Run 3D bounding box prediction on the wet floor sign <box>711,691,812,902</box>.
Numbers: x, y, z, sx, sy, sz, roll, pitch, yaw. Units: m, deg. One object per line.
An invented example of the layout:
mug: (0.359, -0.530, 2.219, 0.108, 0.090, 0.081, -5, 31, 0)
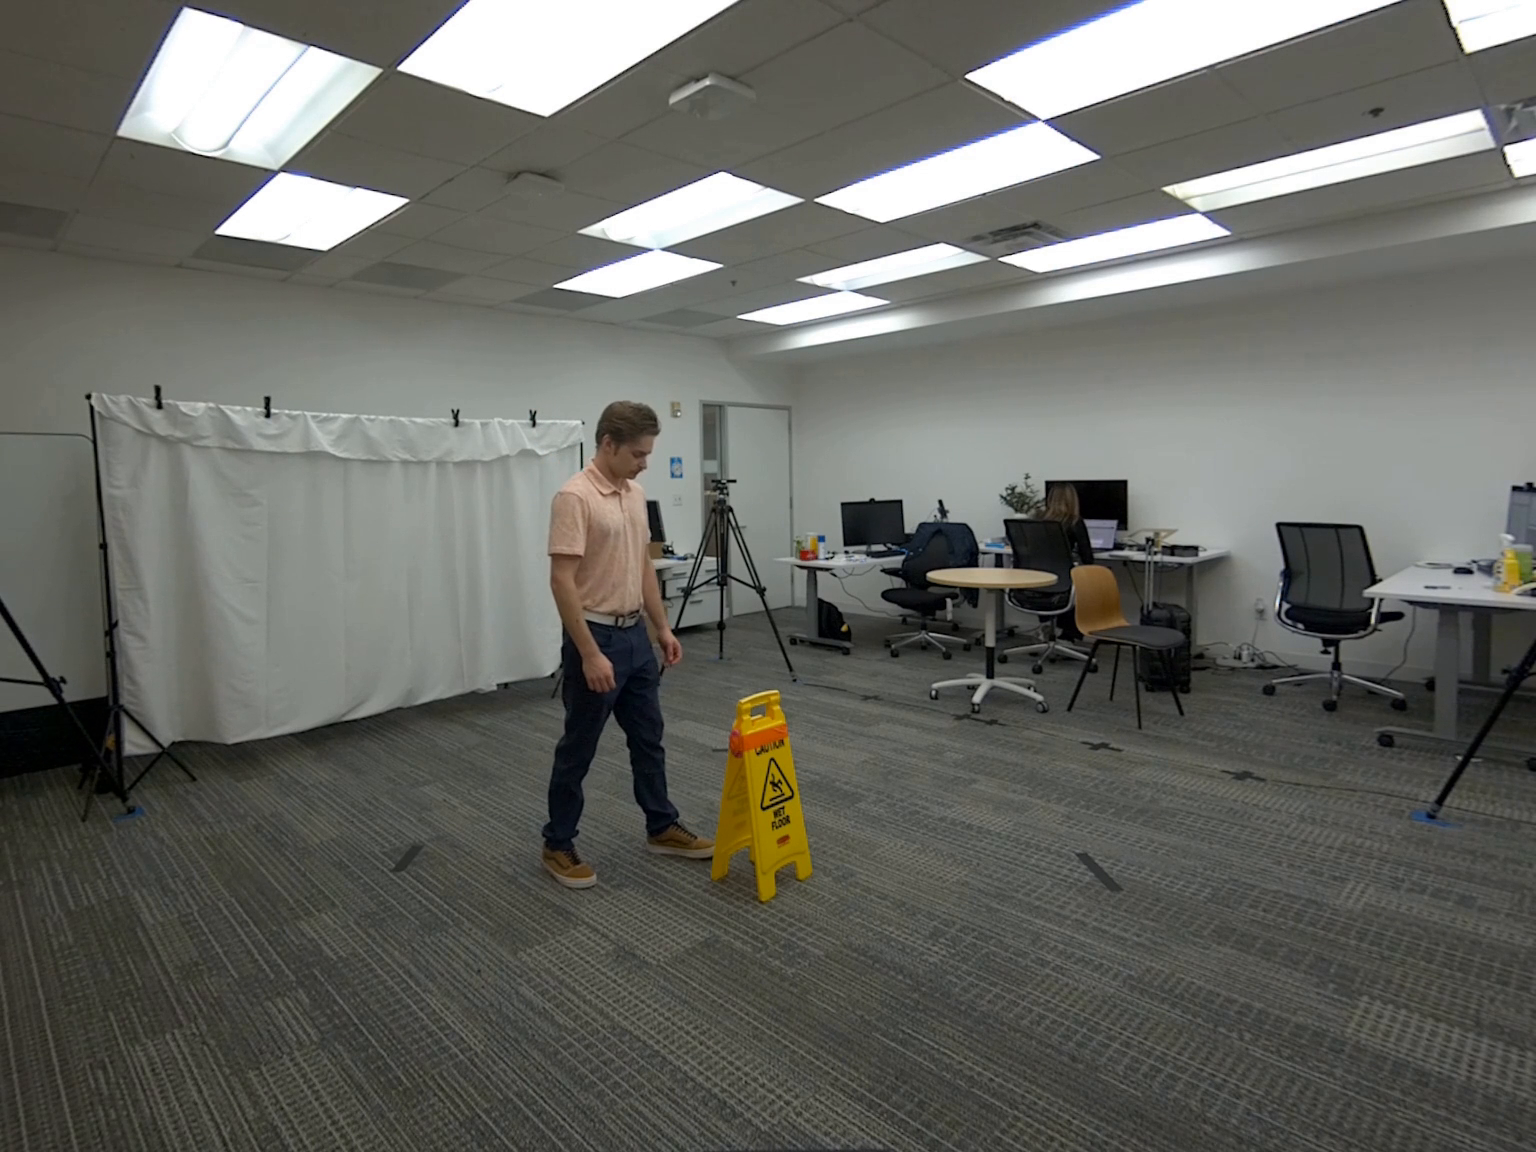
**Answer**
wet floor sign: (-0.024, 0.729, 2.978, 0.299, 0.643, 0.275, 4, 7, 43)
